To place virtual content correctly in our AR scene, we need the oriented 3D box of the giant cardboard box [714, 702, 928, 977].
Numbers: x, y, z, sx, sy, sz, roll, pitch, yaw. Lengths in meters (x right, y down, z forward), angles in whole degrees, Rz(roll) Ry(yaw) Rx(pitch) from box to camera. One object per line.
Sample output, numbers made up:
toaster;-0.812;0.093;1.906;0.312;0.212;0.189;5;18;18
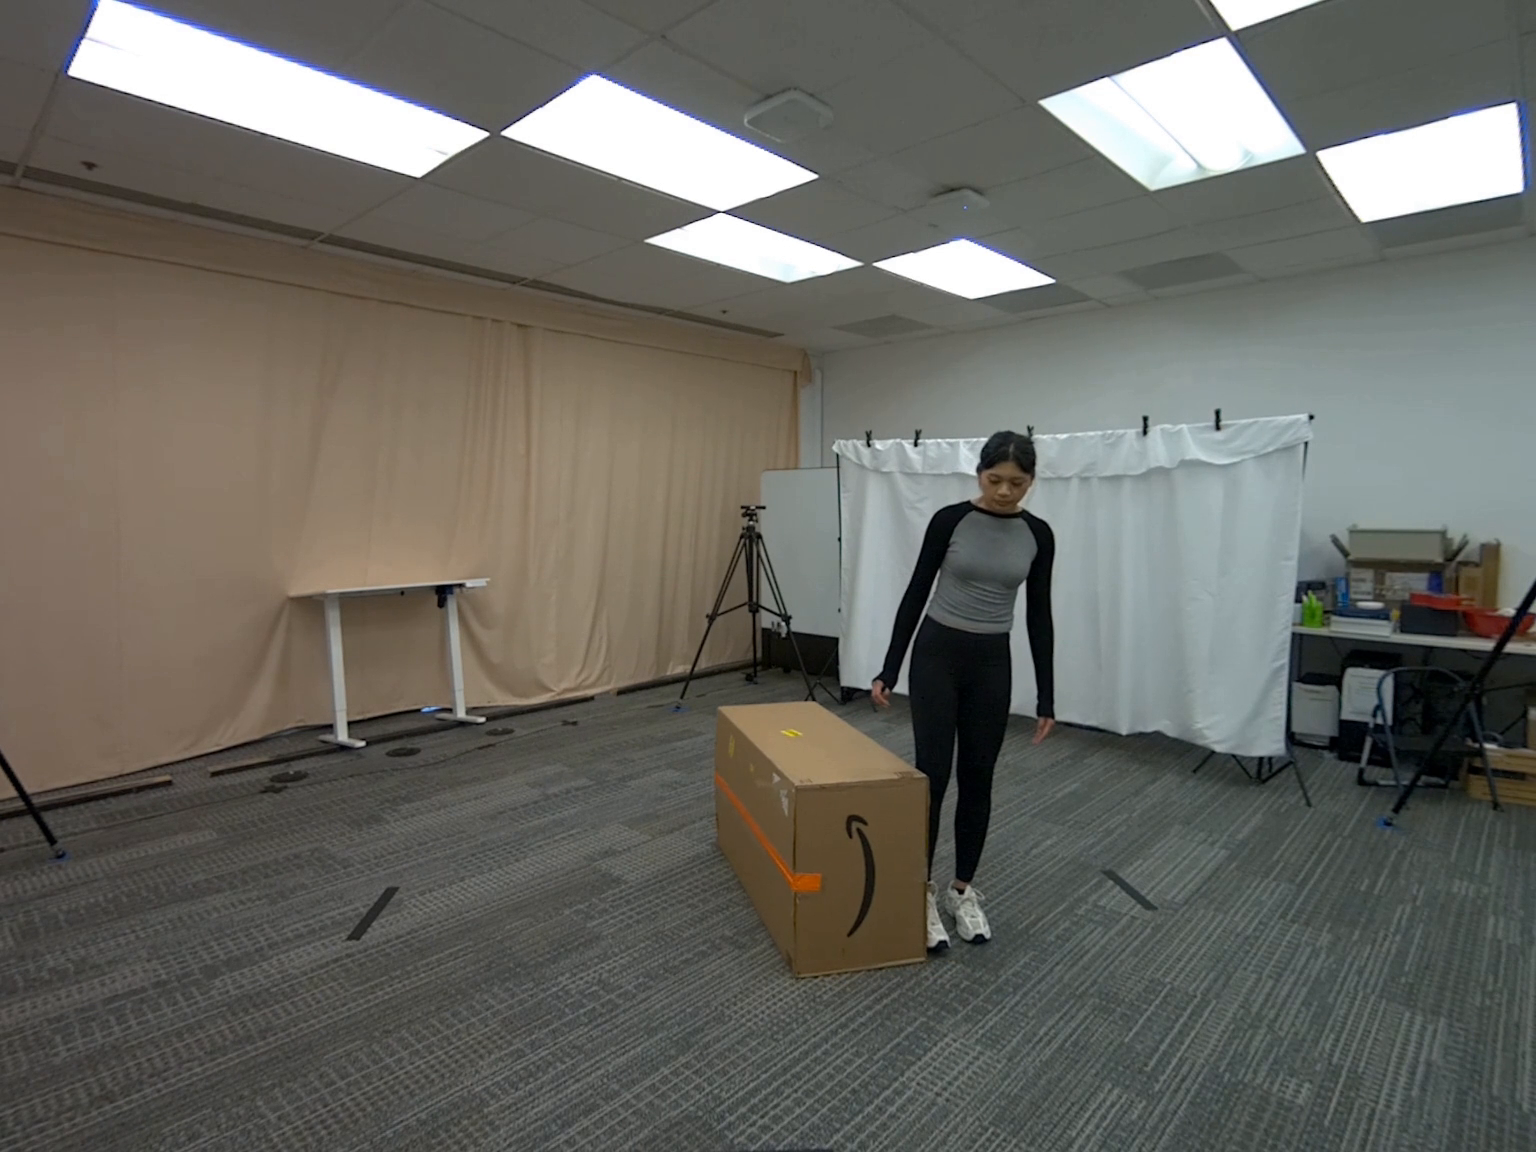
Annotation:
giant cardboard box;0.136;0.851;3.001;0.420;0.576;1.044;0;4;-16
